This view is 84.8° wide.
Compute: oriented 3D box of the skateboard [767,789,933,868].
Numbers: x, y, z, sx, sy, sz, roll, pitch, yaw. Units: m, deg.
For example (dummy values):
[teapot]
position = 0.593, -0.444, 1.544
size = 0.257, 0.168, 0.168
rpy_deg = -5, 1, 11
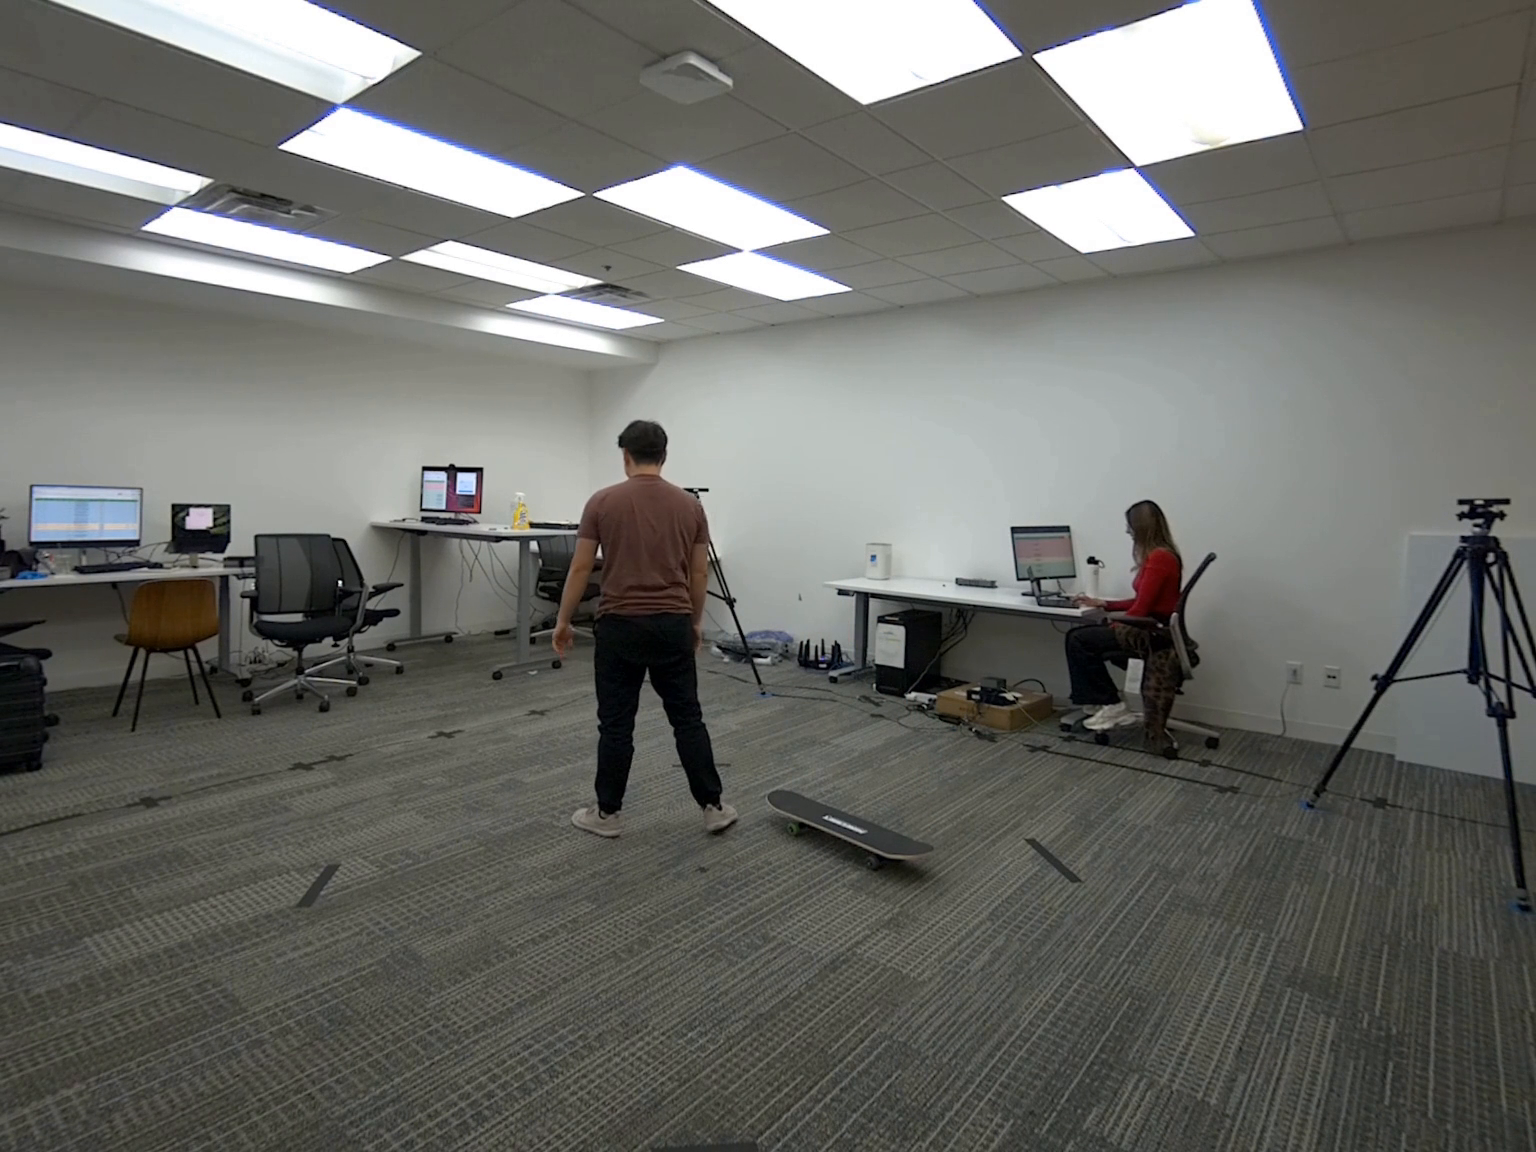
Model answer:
[skateboard]
position = 0.290, 1.002, 3.340
size = 0.188, 0.110, 0.813
rpy_deg = -4, 8, -44
